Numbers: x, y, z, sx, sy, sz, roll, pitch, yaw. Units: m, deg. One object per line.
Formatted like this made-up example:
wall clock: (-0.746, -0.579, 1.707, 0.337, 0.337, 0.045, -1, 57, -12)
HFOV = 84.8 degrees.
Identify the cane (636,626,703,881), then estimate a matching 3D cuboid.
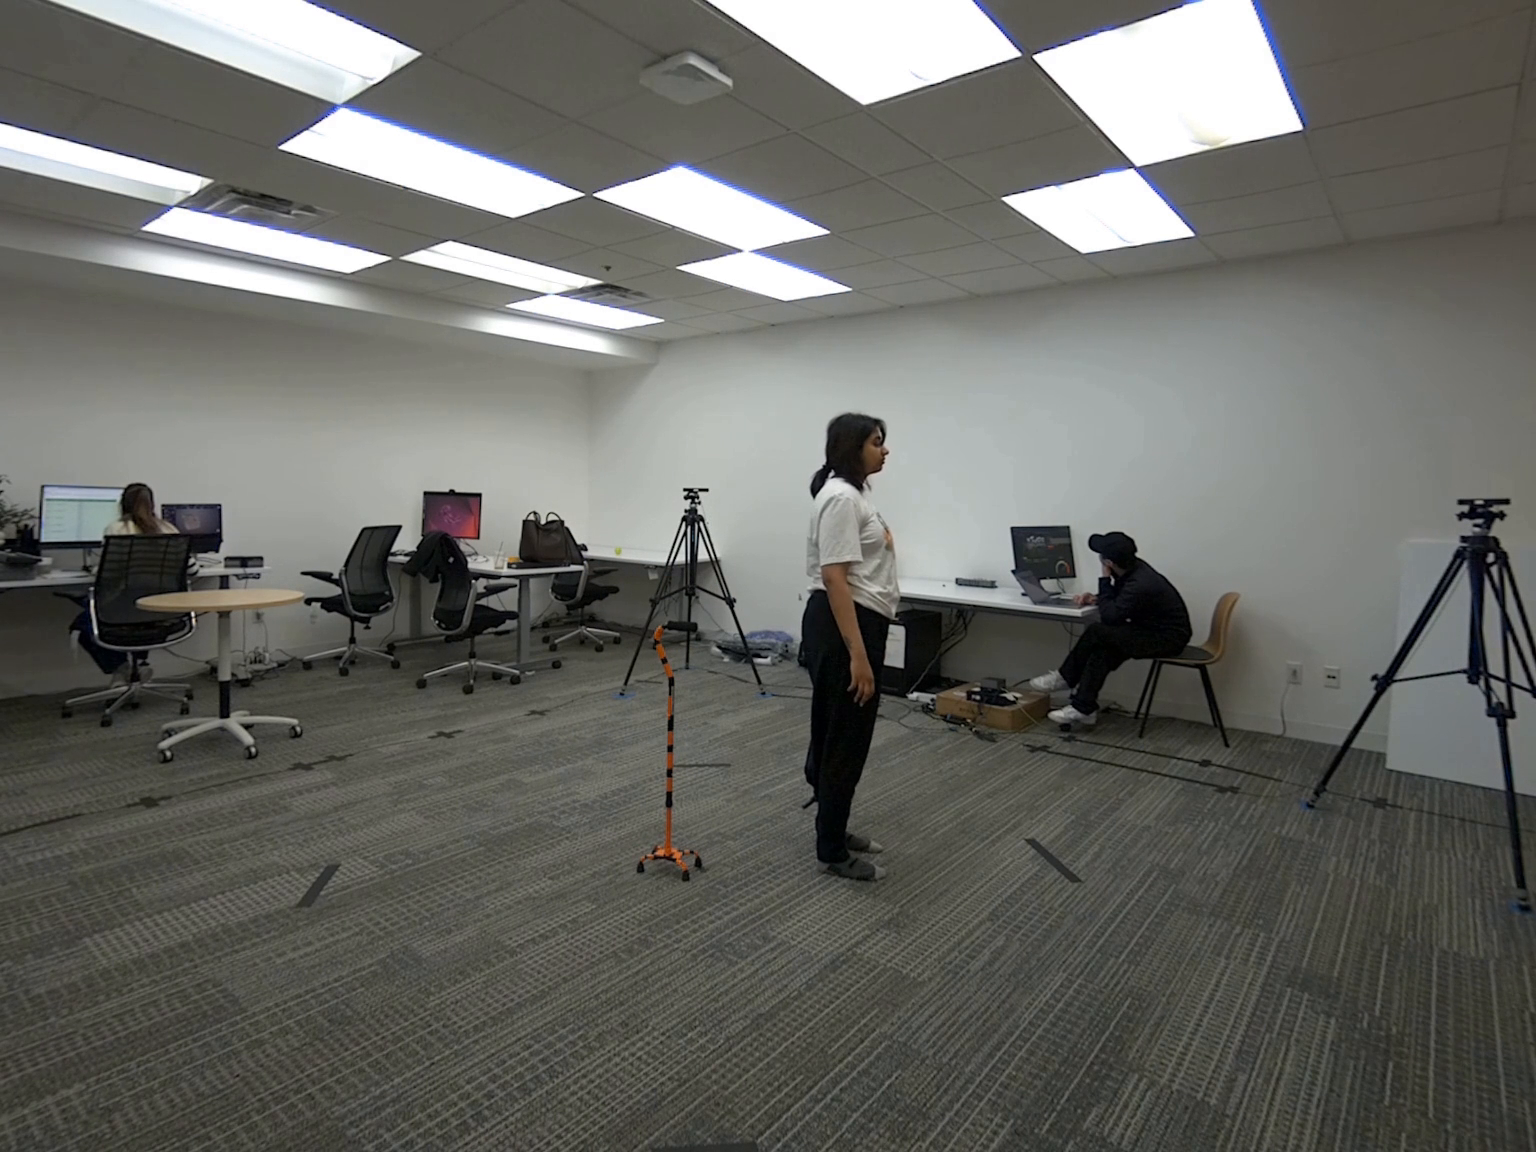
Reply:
cane: (-0.367, 0.615, 3.099, 0.211, 0.907, 0.148, 1, 1, 20)
